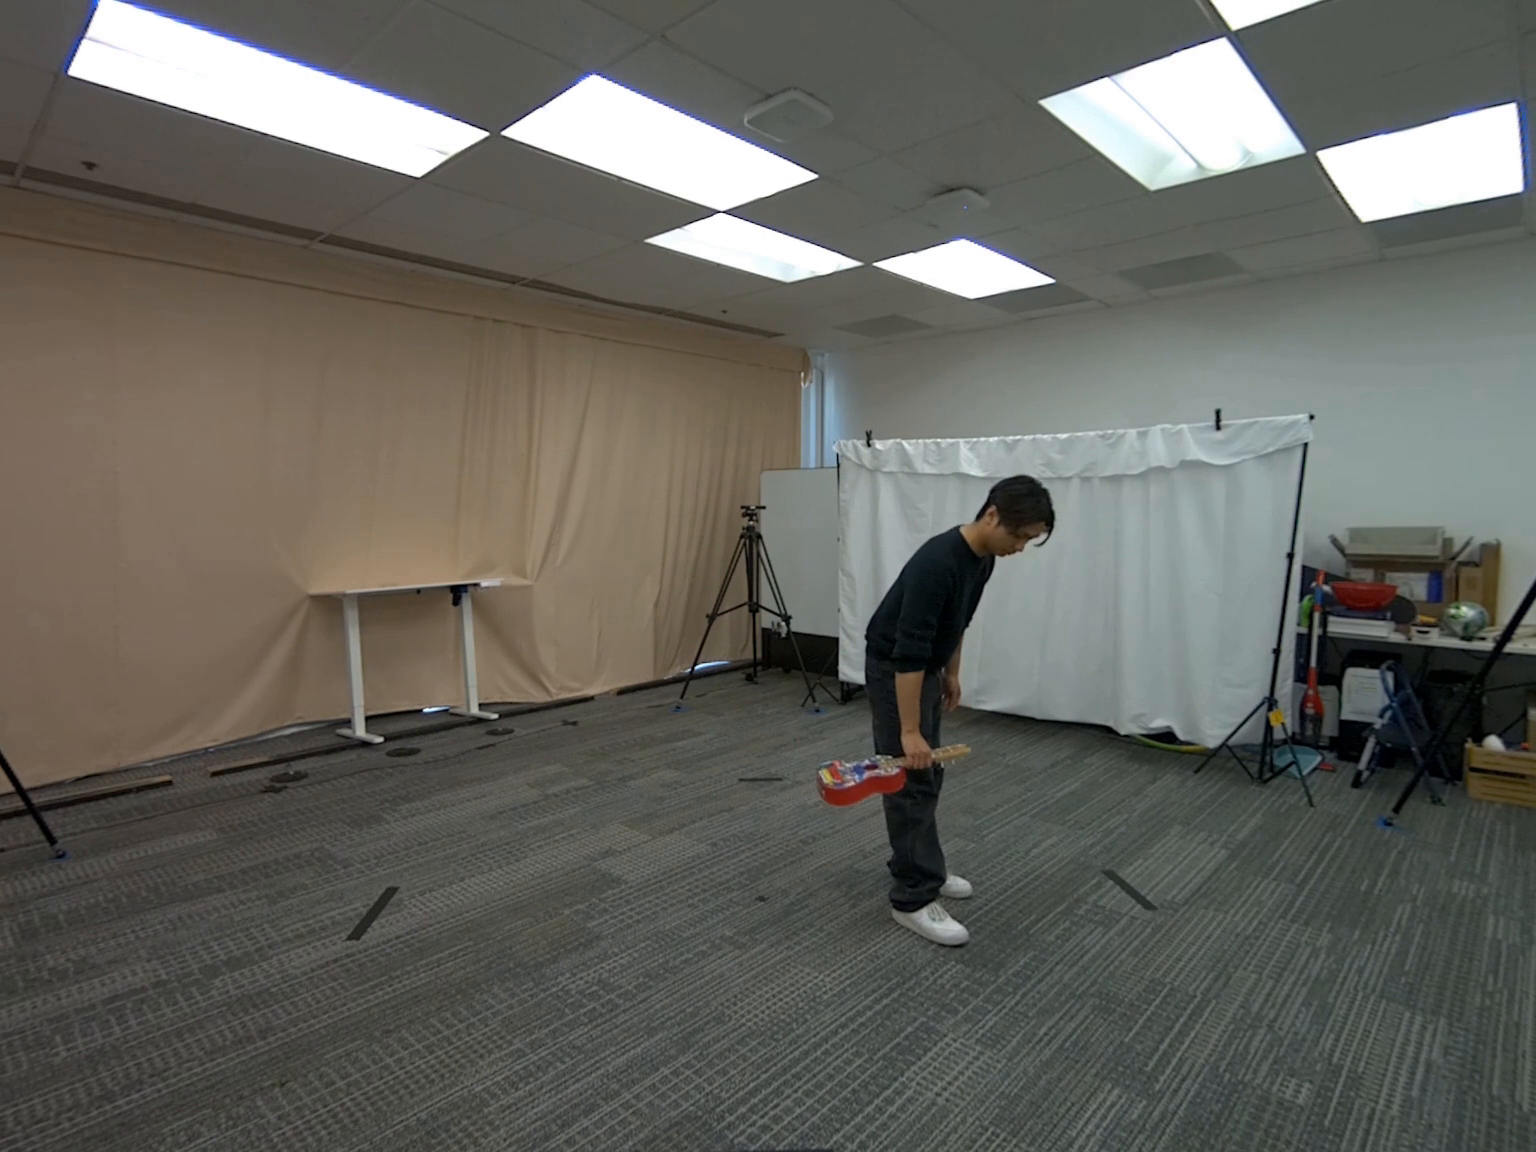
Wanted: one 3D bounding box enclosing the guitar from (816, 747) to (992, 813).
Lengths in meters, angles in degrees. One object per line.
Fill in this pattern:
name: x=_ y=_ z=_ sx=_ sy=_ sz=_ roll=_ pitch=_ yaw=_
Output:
guitar: x=0.408 y=0.628 z=2.619 sx=0.499 sy=0.070 sz=0.194 roll=-7 pitch=11 yaw=3
